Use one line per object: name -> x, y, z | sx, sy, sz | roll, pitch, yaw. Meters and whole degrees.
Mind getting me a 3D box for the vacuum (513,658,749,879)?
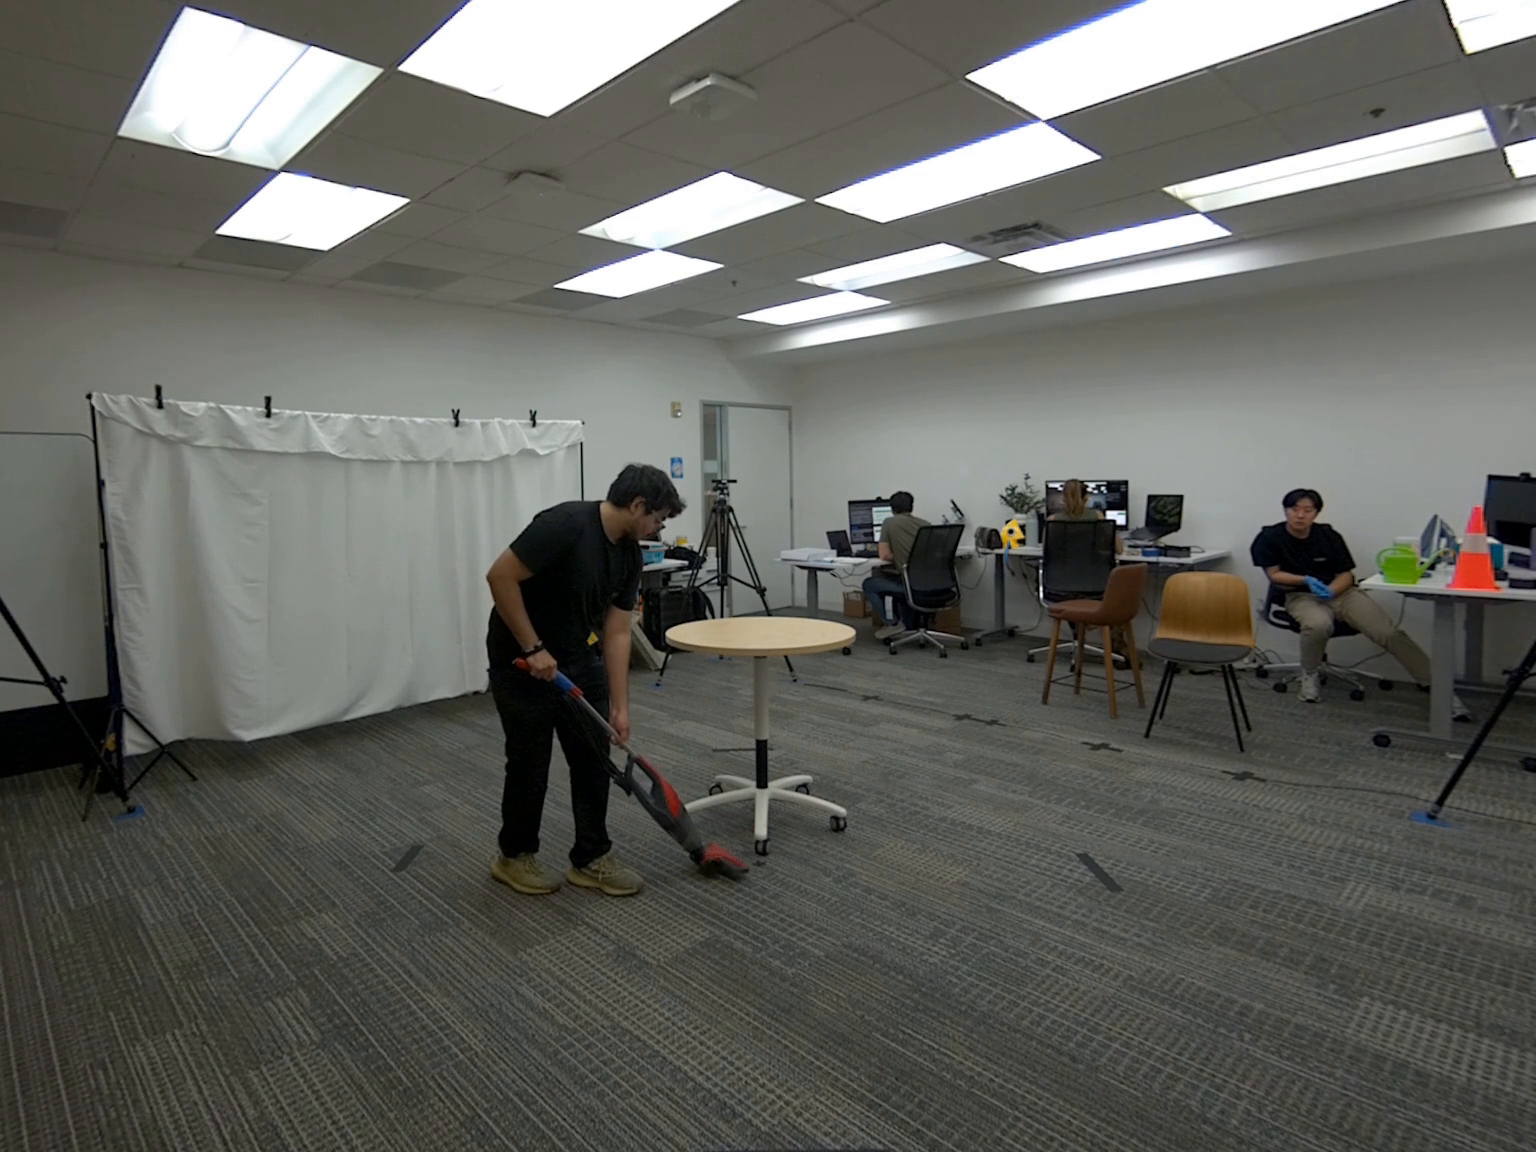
vacuum -> -0.466, 0.643, 2.881 | 0.144, 1.021, 0.260 | -45, 24, -17
